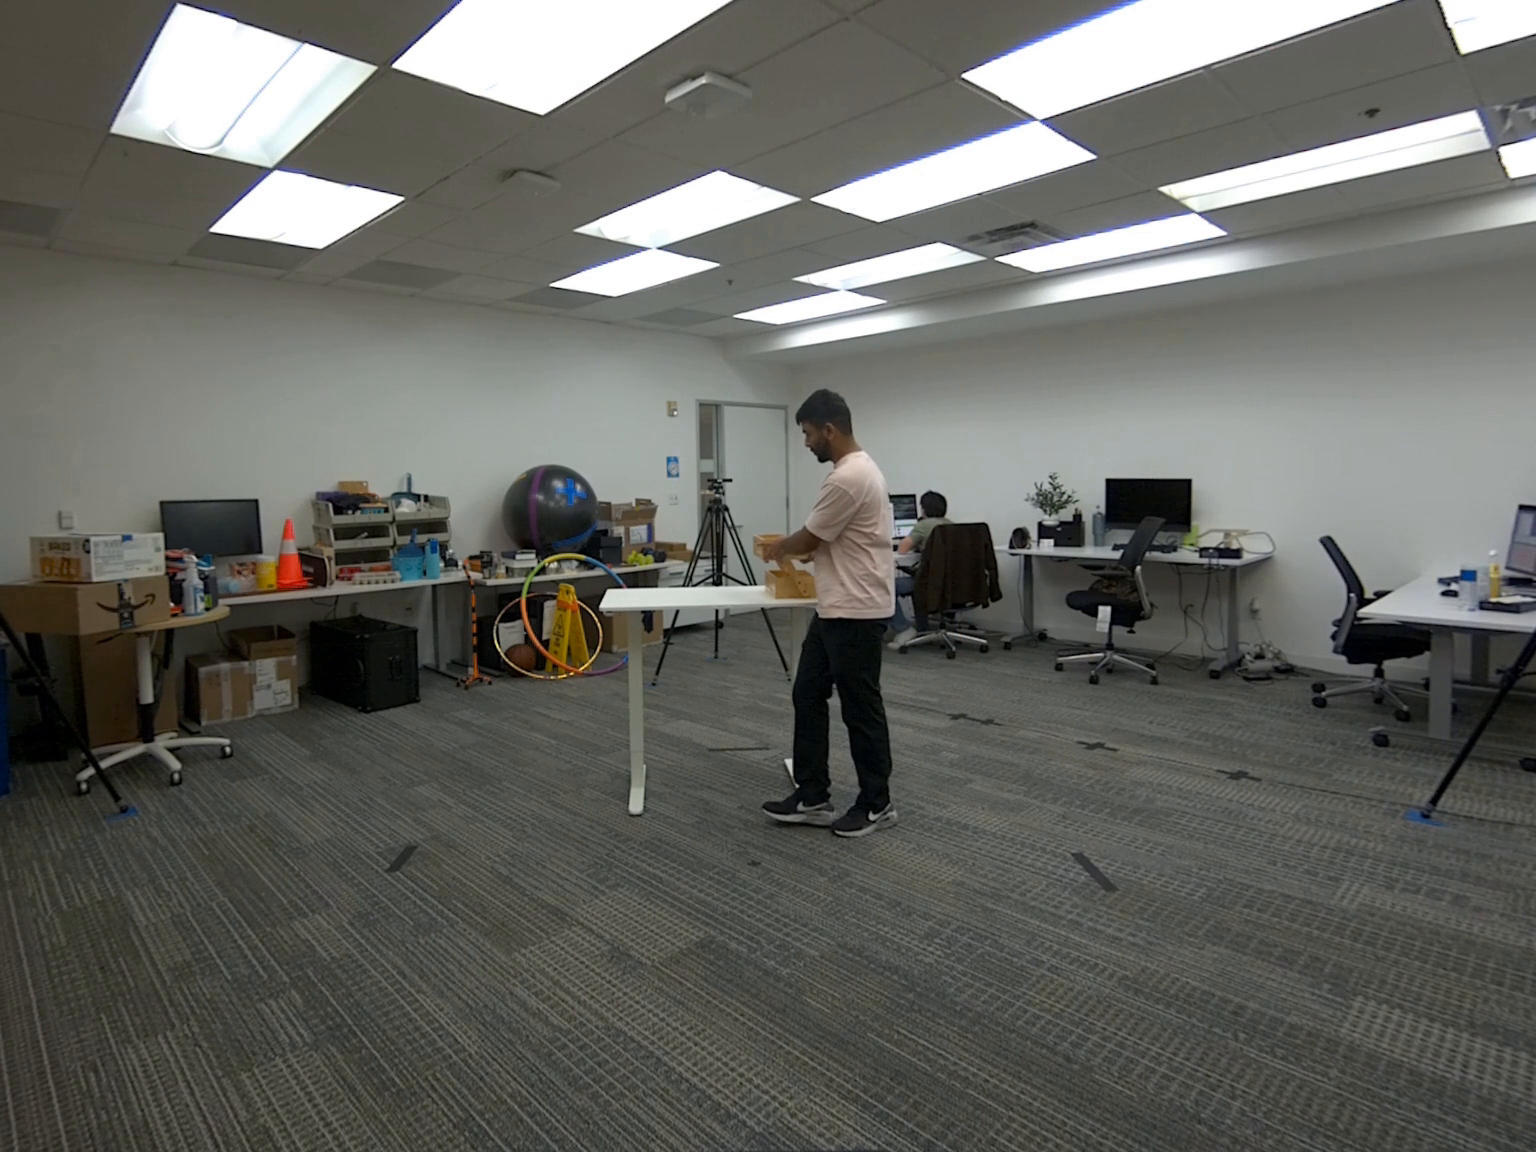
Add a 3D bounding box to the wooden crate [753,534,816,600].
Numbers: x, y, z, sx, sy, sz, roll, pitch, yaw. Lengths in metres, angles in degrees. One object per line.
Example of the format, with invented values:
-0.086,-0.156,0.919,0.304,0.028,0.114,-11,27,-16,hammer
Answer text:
0.112,-0.047,3.833,0.300,0.272,0.328,-1,6,-8,wooden crate
